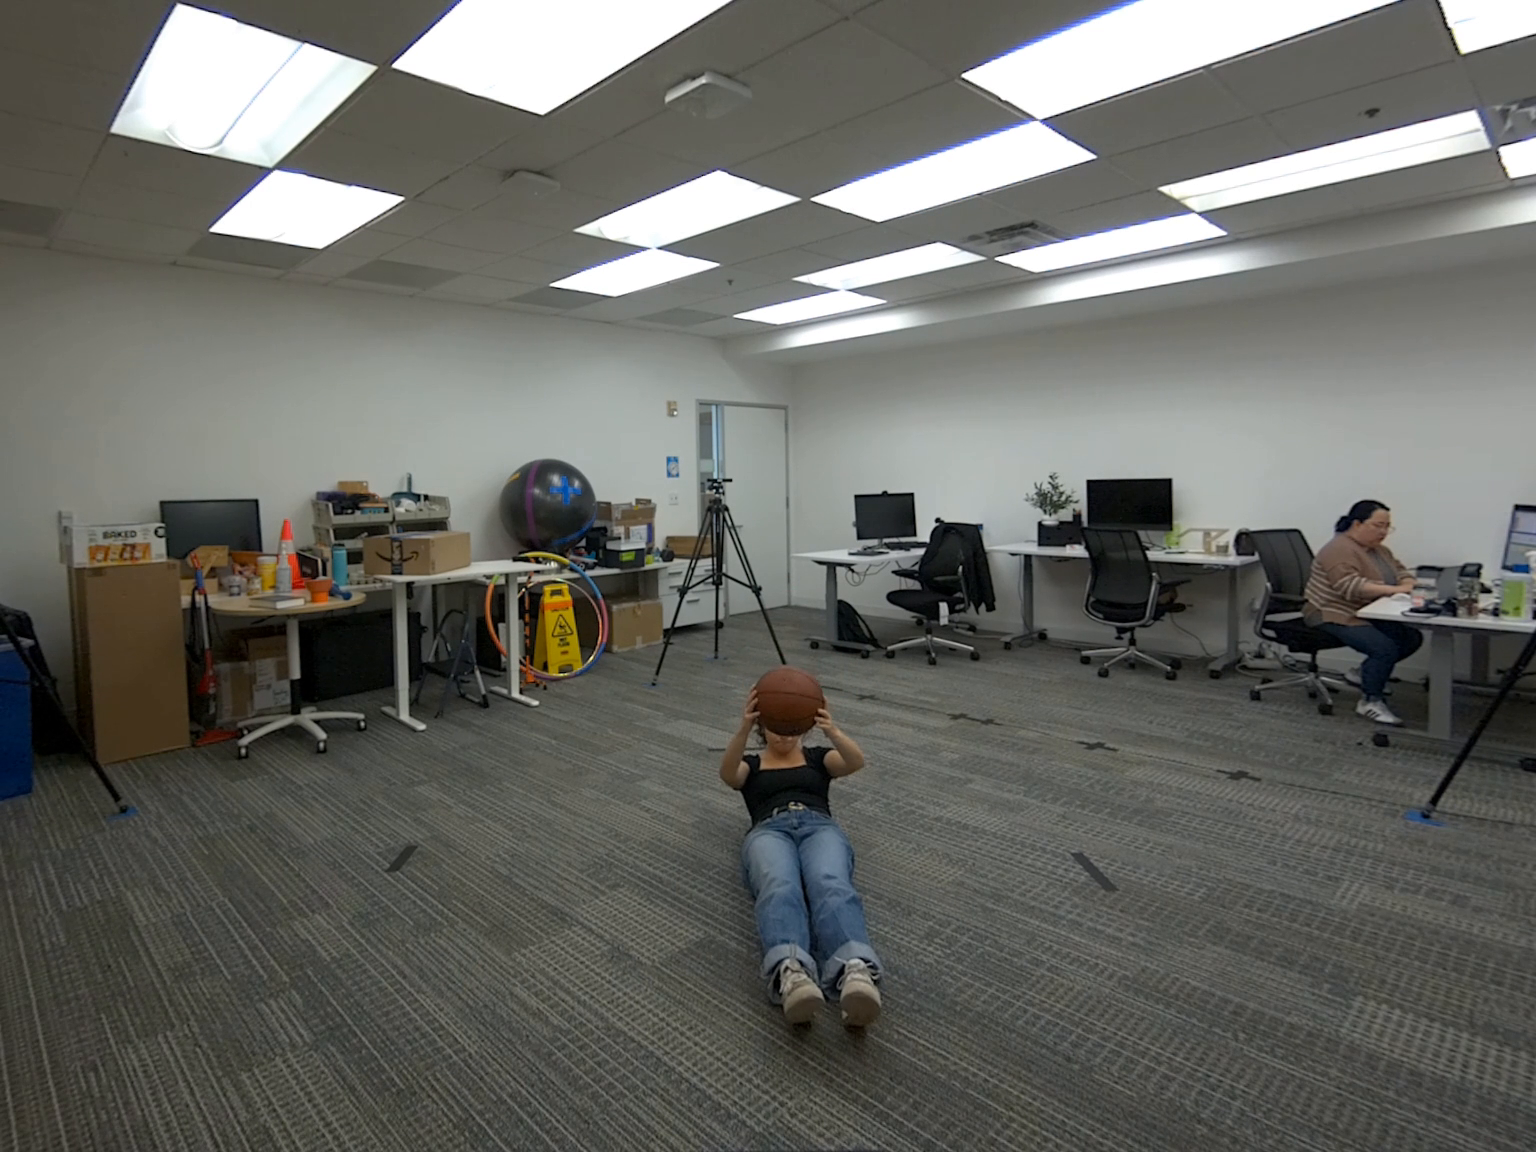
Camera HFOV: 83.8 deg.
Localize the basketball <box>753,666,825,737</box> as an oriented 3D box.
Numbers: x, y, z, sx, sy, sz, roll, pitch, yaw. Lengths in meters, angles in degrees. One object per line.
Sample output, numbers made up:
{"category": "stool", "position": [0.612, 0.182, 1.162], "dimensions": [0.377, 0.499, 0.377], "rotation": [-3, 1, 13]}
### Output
{"category": "basketball", "position": [0.066, 0.414, 2.888], "dimensions": [0.236, 0.235, 0.237], "rotation": [-1, 5, -2]}
